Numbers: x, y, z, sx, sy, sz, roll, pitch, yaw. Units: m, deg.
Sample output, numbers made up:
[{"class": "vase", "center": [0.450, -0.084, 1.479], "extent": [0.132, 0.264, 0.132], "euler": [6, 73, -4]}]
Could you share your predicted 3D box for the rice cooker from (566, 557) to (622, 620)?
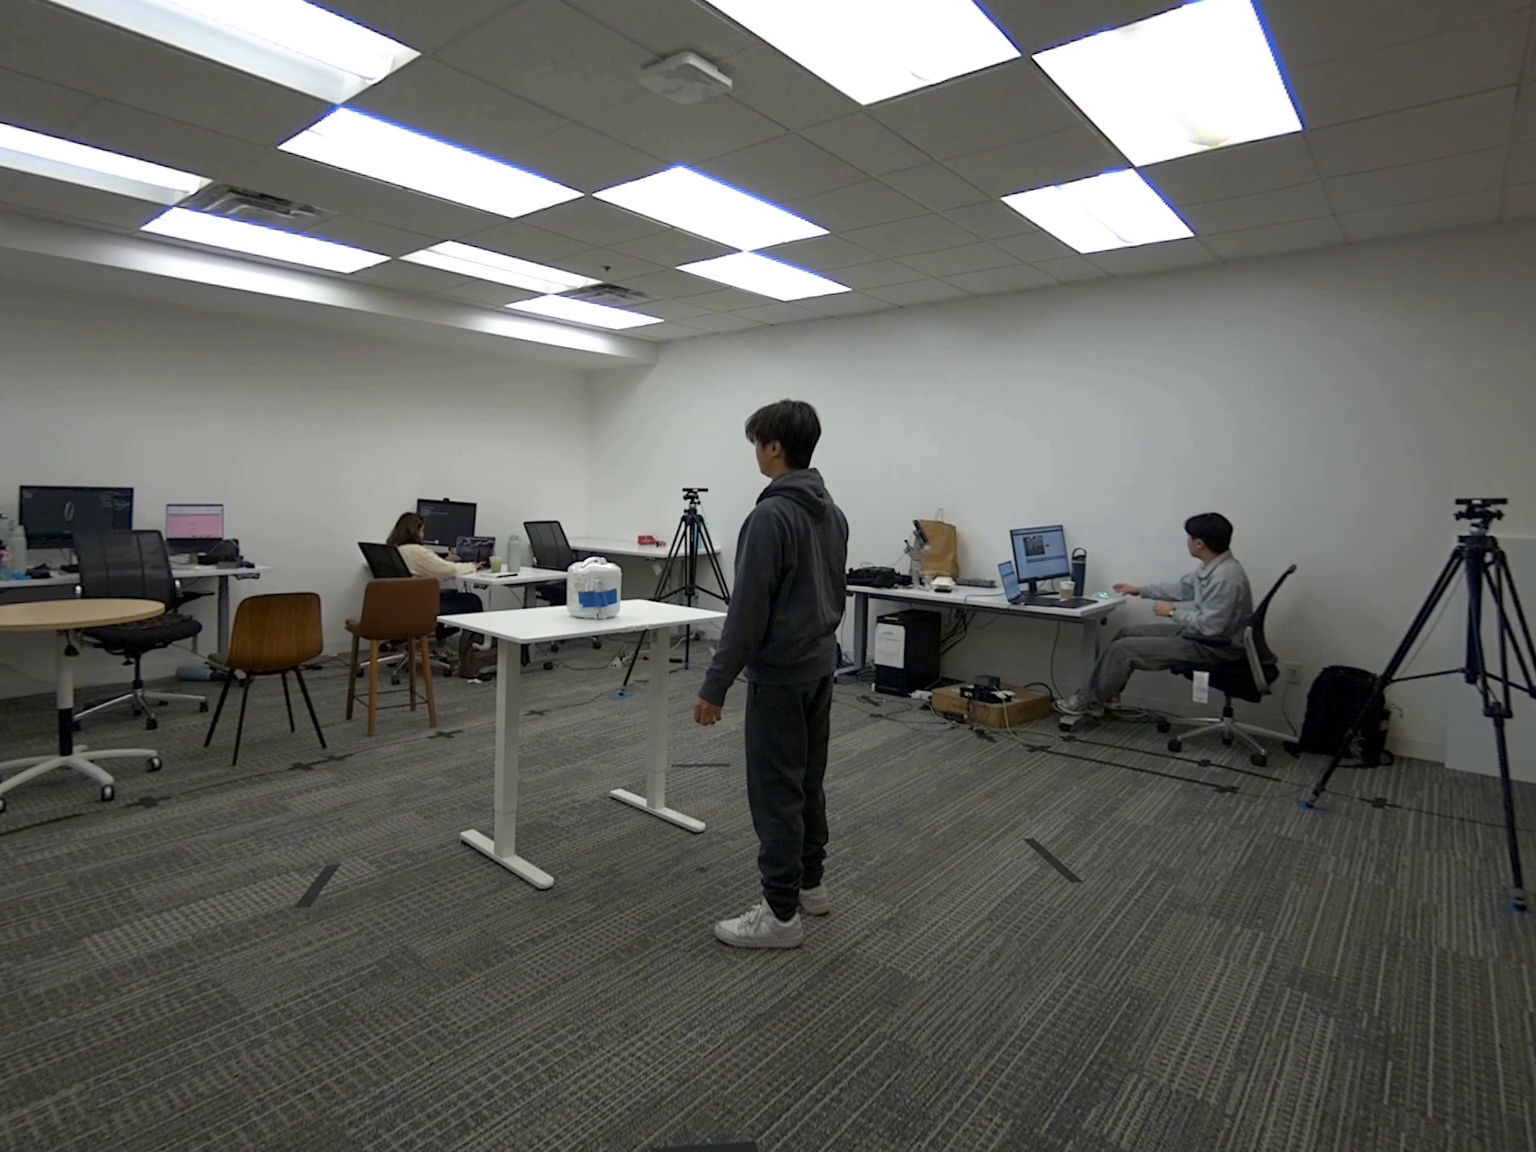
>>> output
[{"class": "rice cooker", "center": [-0.699, 0.040, 3.343], "extent": [0.223, 0.232, 0.216], "euler": [5, 4, 21]}]
